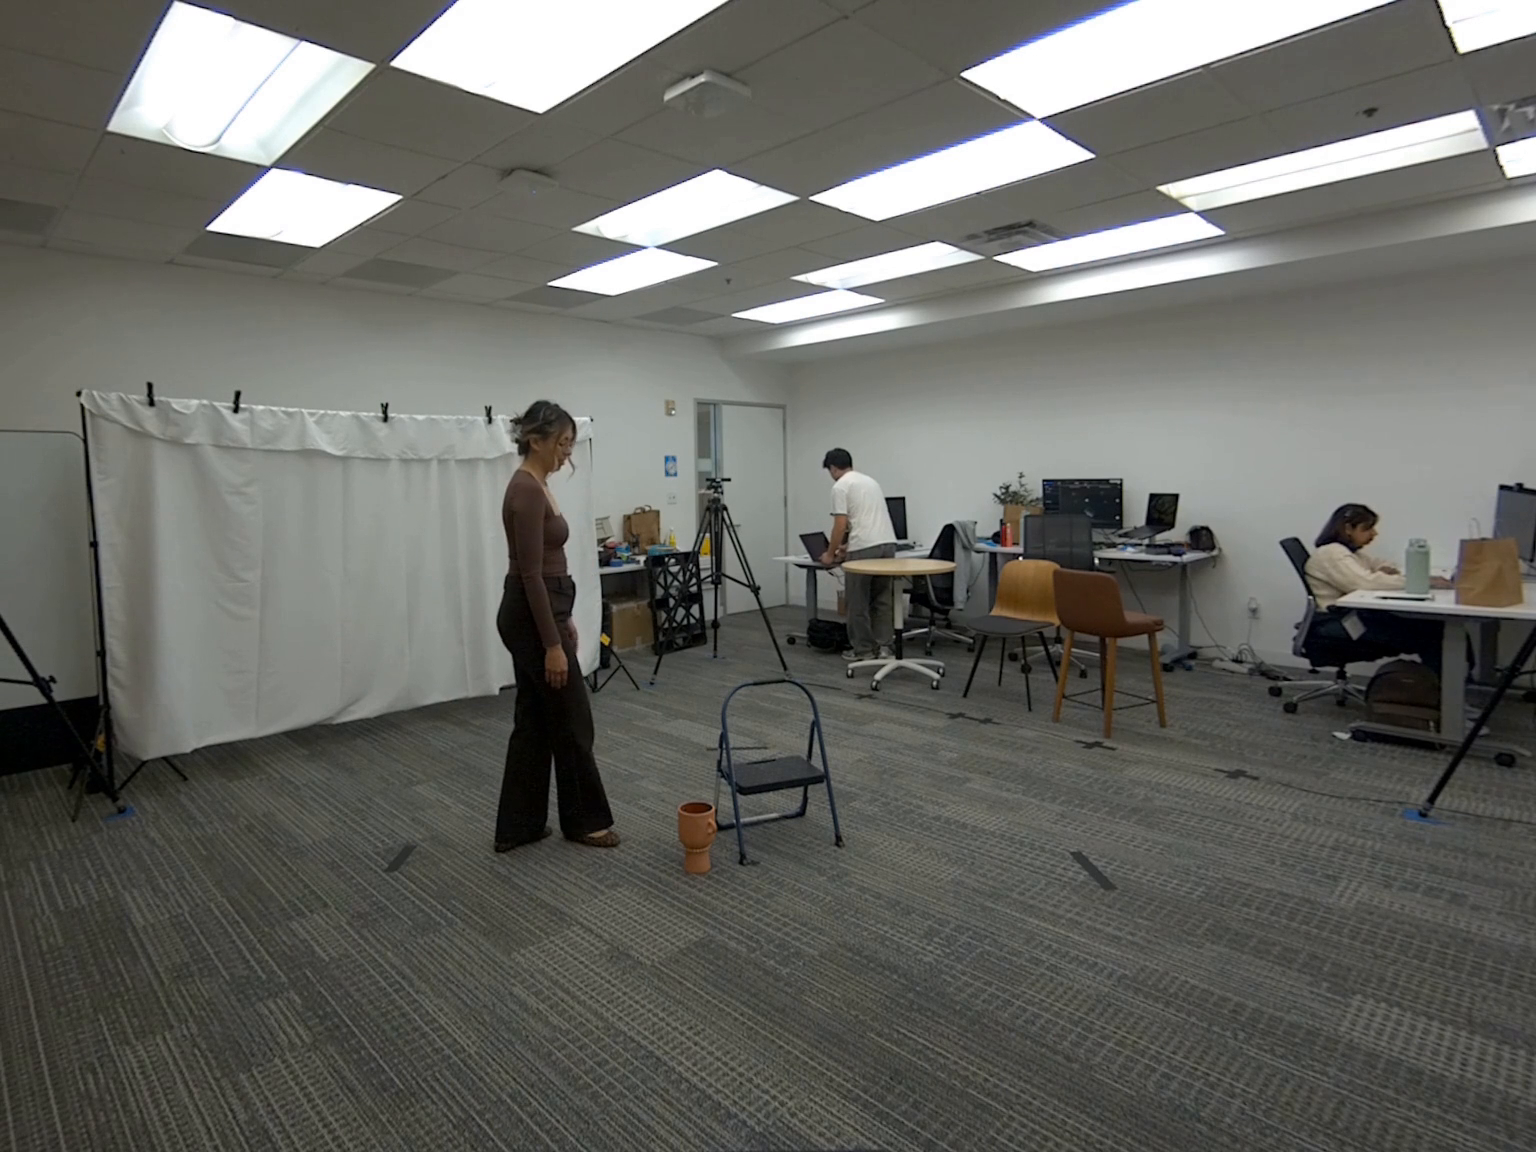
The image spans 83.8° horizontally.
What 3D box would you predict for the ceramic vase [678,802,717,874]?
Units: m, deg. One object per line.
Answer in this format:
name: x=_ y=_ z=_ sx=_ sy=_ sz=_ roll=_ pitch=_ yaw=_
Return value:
ceramic vase: x=-0.251 y=0.934 z=3.066 sx=0.133 sy=0.219 sz=0.161 roll=-1 pitch=5 yaw=-10
